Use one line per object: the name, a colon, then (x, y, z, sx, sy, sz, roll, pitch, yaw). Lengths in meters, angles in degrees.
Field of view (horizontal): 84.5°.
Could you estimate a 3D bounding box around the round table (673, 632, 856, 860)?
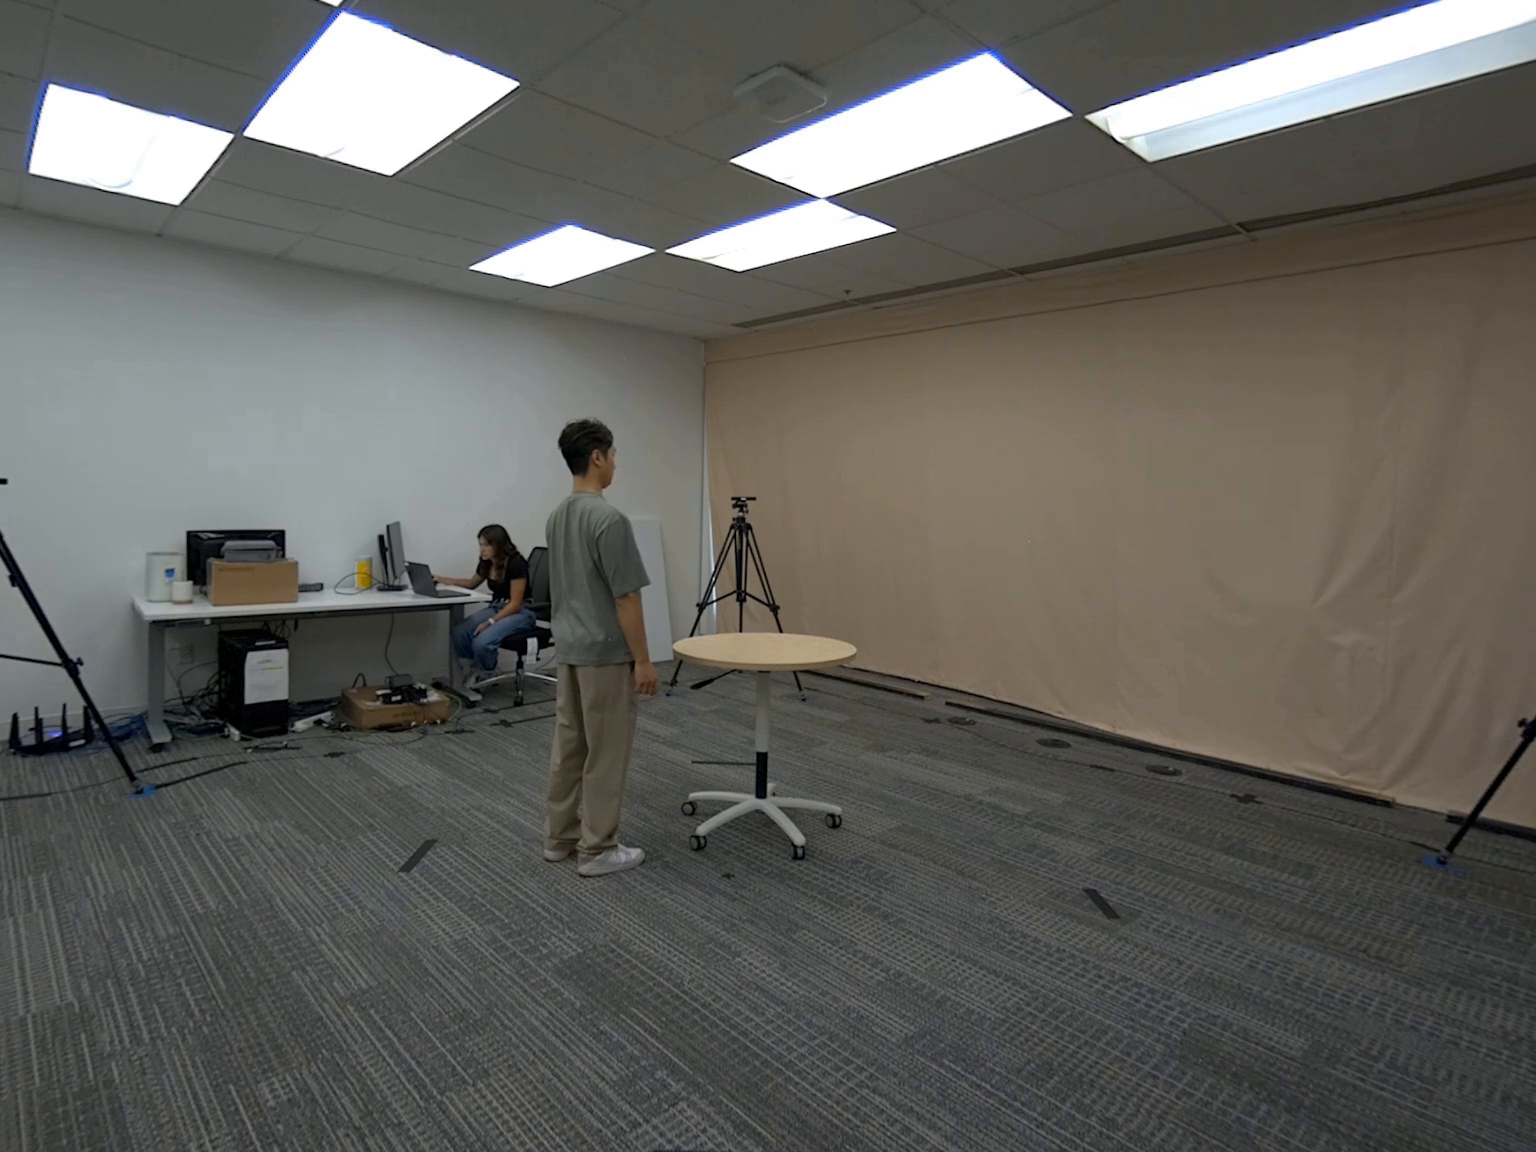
round table: (-0.024, 0.682, 3.532, 0.784, 0.785, 0.787, 1, 4, -1)
